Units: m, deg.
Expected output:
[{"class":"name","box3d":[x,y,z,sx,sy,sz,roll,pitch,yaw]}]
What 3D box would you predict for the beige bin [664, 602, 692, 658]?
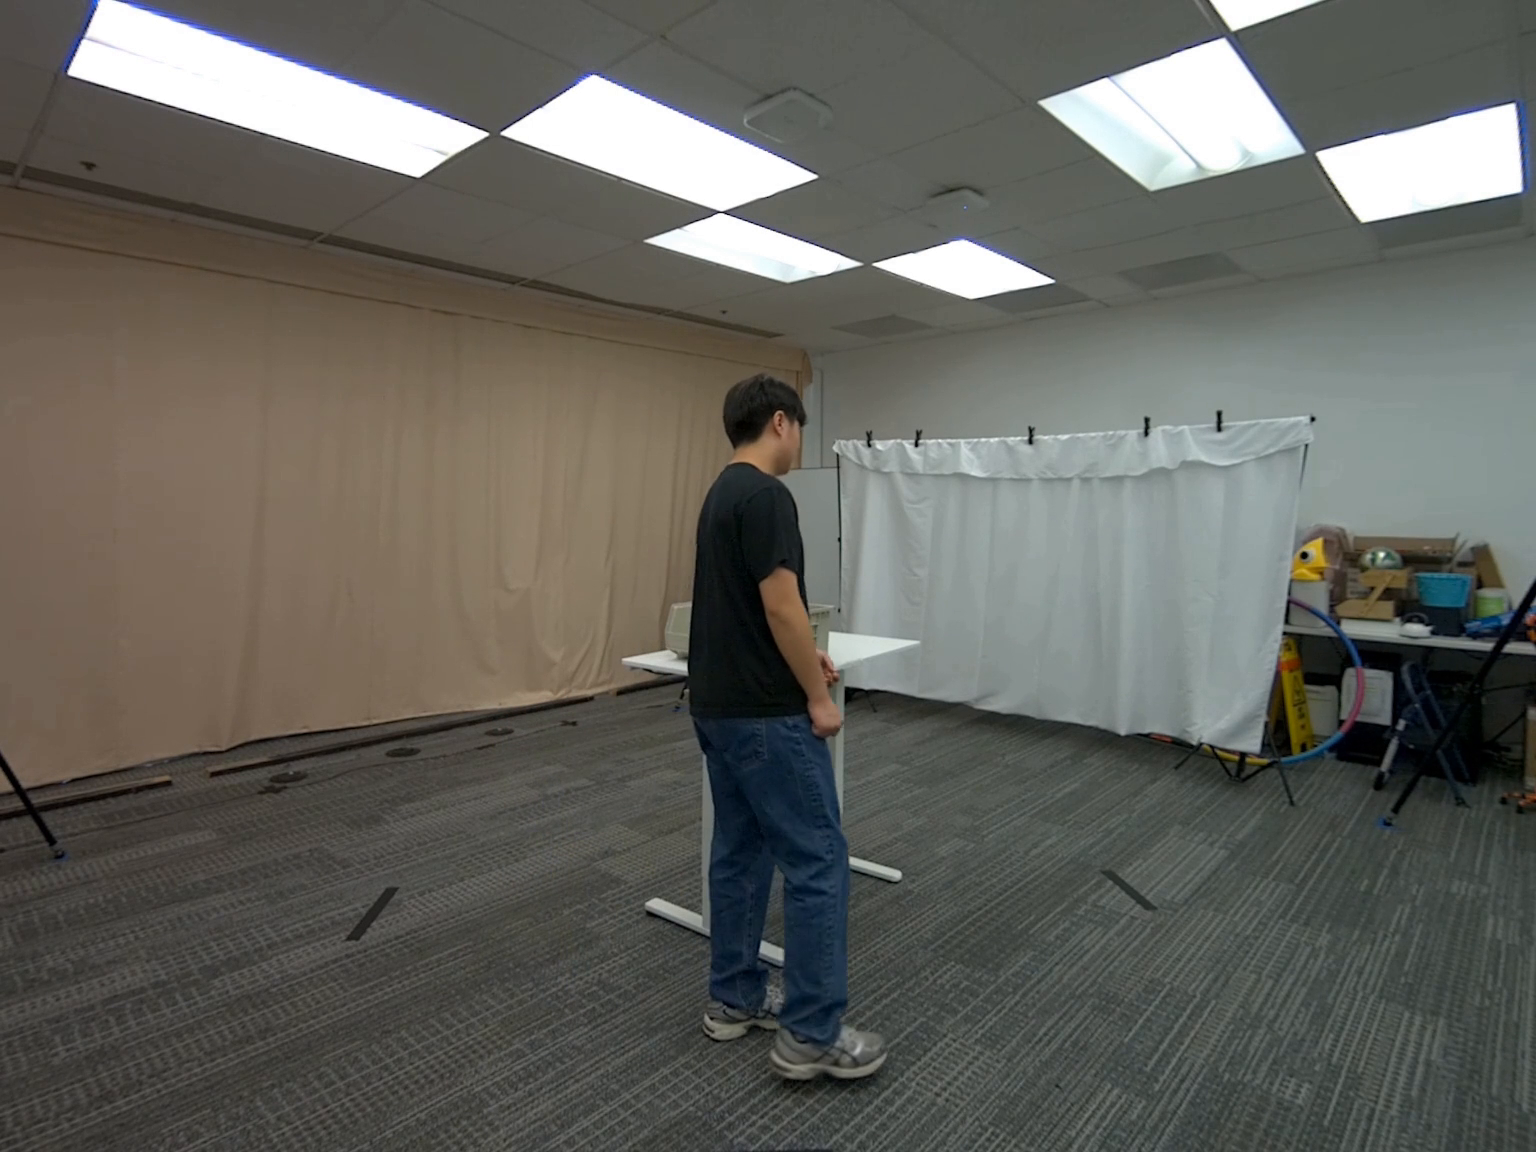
[{"class":"beige bin","box3d":[-0.055,0.192,2.766,0.436,0.189,0.365,3,4,40]}]
